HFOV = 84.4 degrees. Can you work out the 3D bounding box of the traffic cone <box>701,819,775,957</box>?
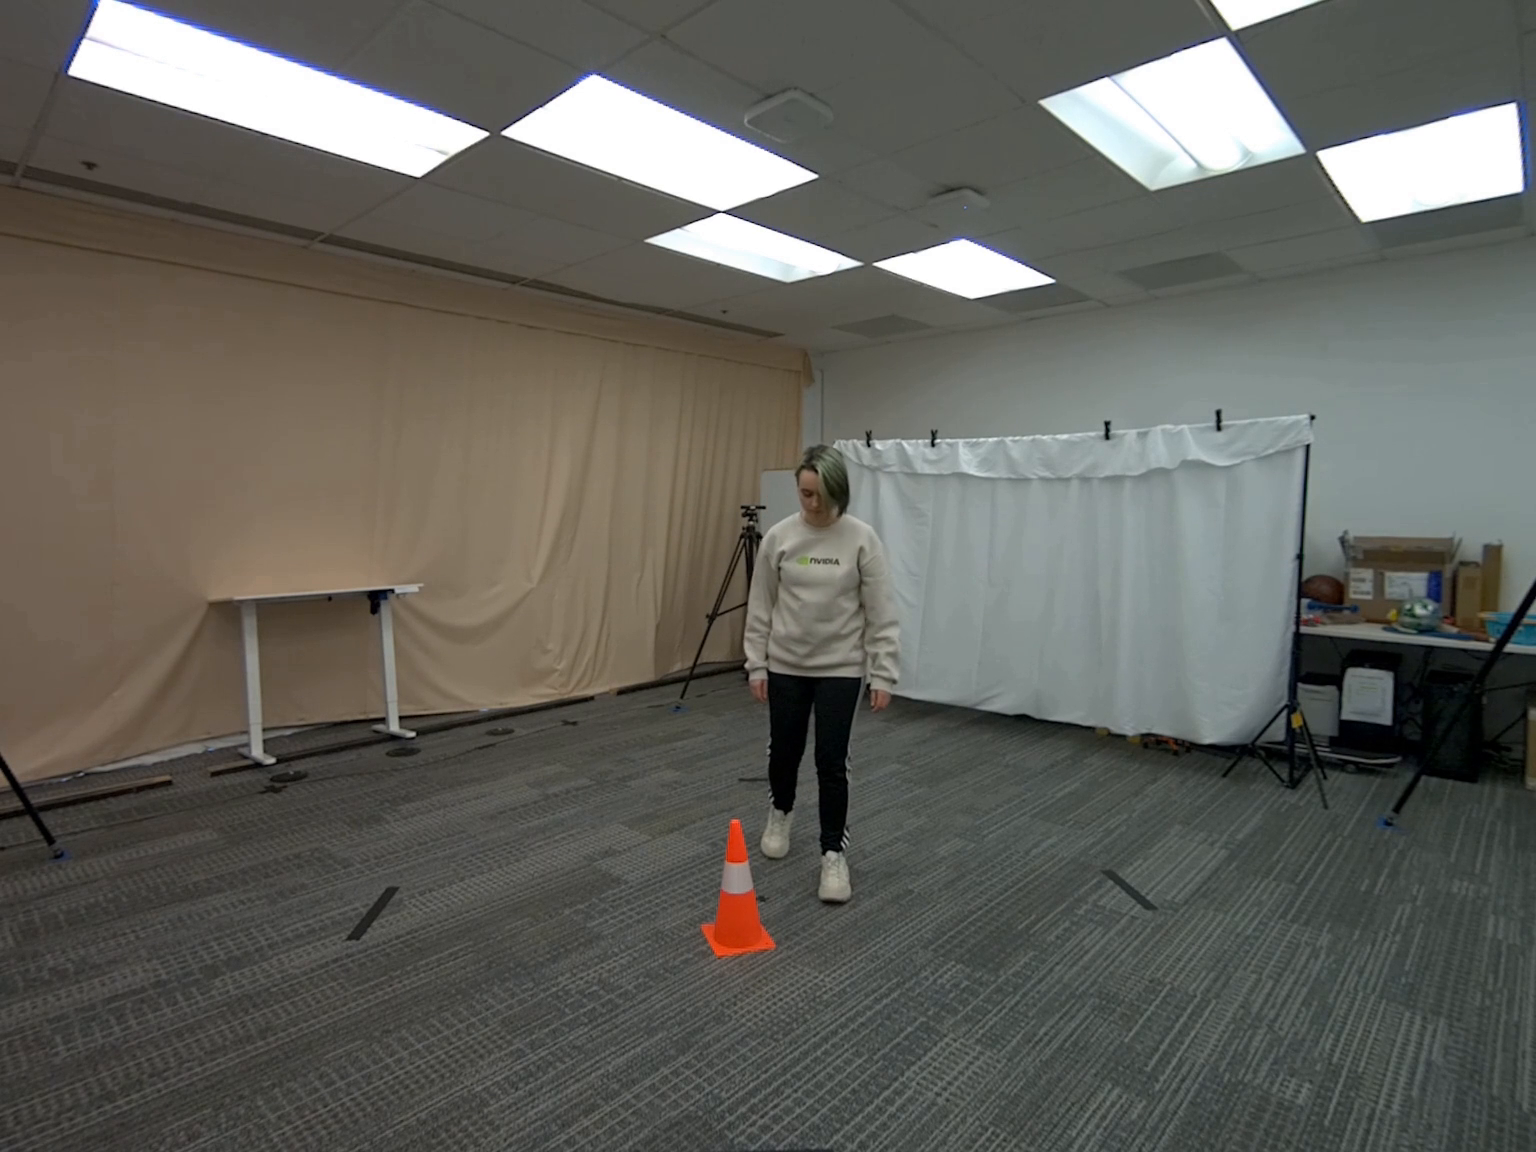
[{"bbox_3d":[-0.101,0.982,2.704,0.200,0.382,0.209,-3,4,-16],"label":"traffic cone"}]
